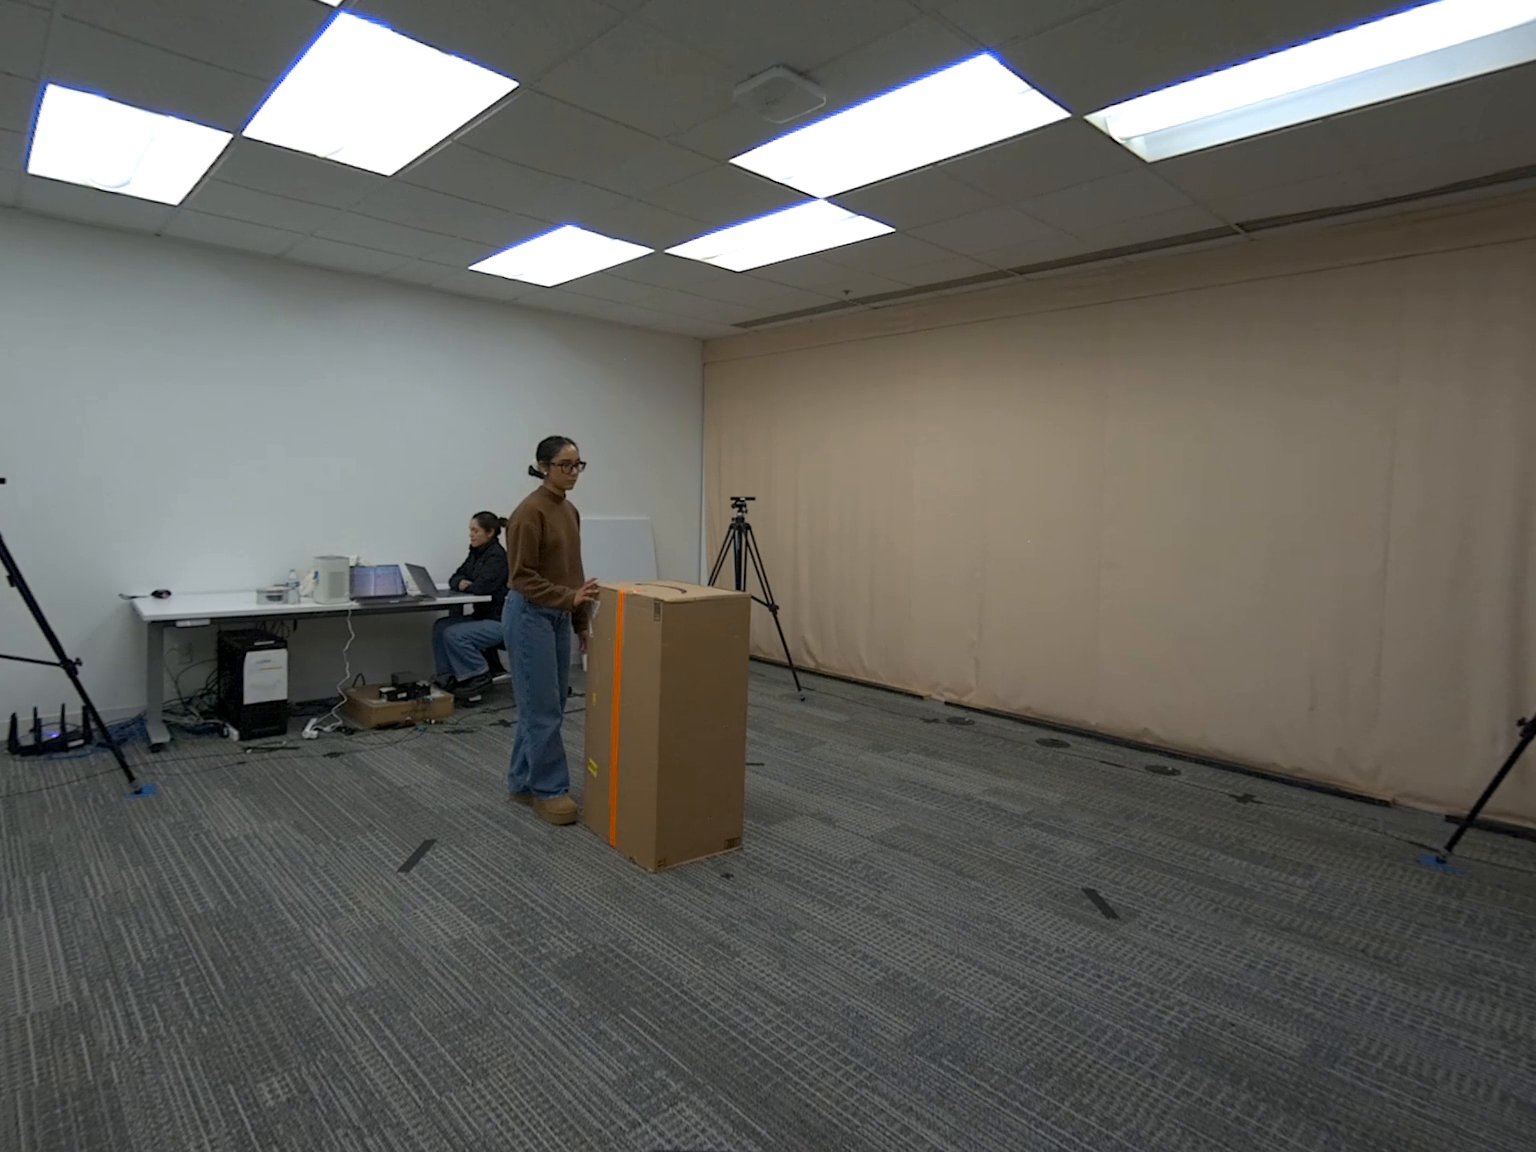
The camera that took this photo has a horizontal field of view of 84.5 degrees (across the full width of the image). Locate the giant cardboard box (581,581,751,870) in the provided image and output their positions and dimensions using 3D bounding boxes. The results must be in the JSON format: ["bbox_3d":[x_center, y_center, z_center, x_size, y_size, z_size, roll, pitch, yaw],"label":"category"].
[{"bbox_3d":[-0.430,0.562,3.425,0.416,1.023,0.592,-1,5,-39],"label":"giant cardboard box"}]
